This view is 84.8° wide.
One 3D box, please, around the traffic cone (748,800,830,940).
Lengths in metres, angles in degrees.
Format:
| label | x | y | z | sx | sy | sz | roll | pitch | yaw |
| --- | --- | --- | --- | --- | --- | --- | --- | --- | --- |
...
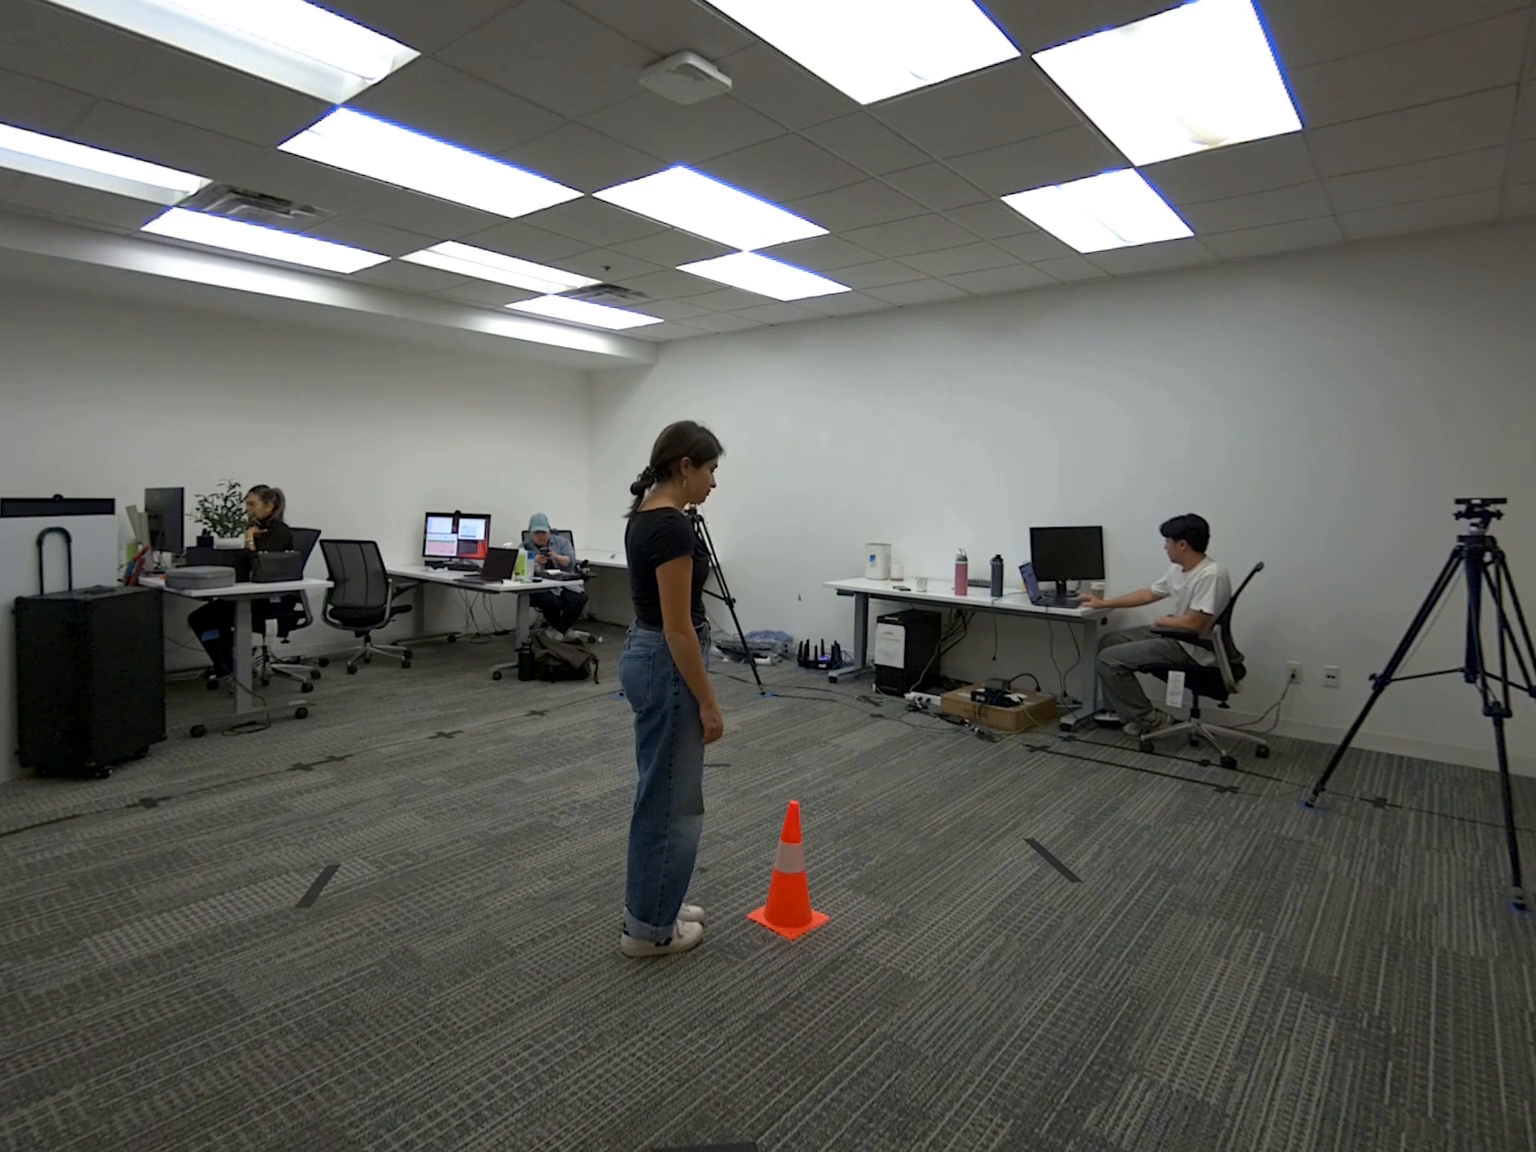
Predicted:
| label | x | y | z | sx | sy | sz | roll | pitch | yaw |
| --- | --- | --- | --- | --- | --- | --- | --- | --- | --- |
| traffic cone | 0.075 | 0.920 | 2.766 | 0.210 | 0.383 | 0.199 | 2 | 3 | 40 |
